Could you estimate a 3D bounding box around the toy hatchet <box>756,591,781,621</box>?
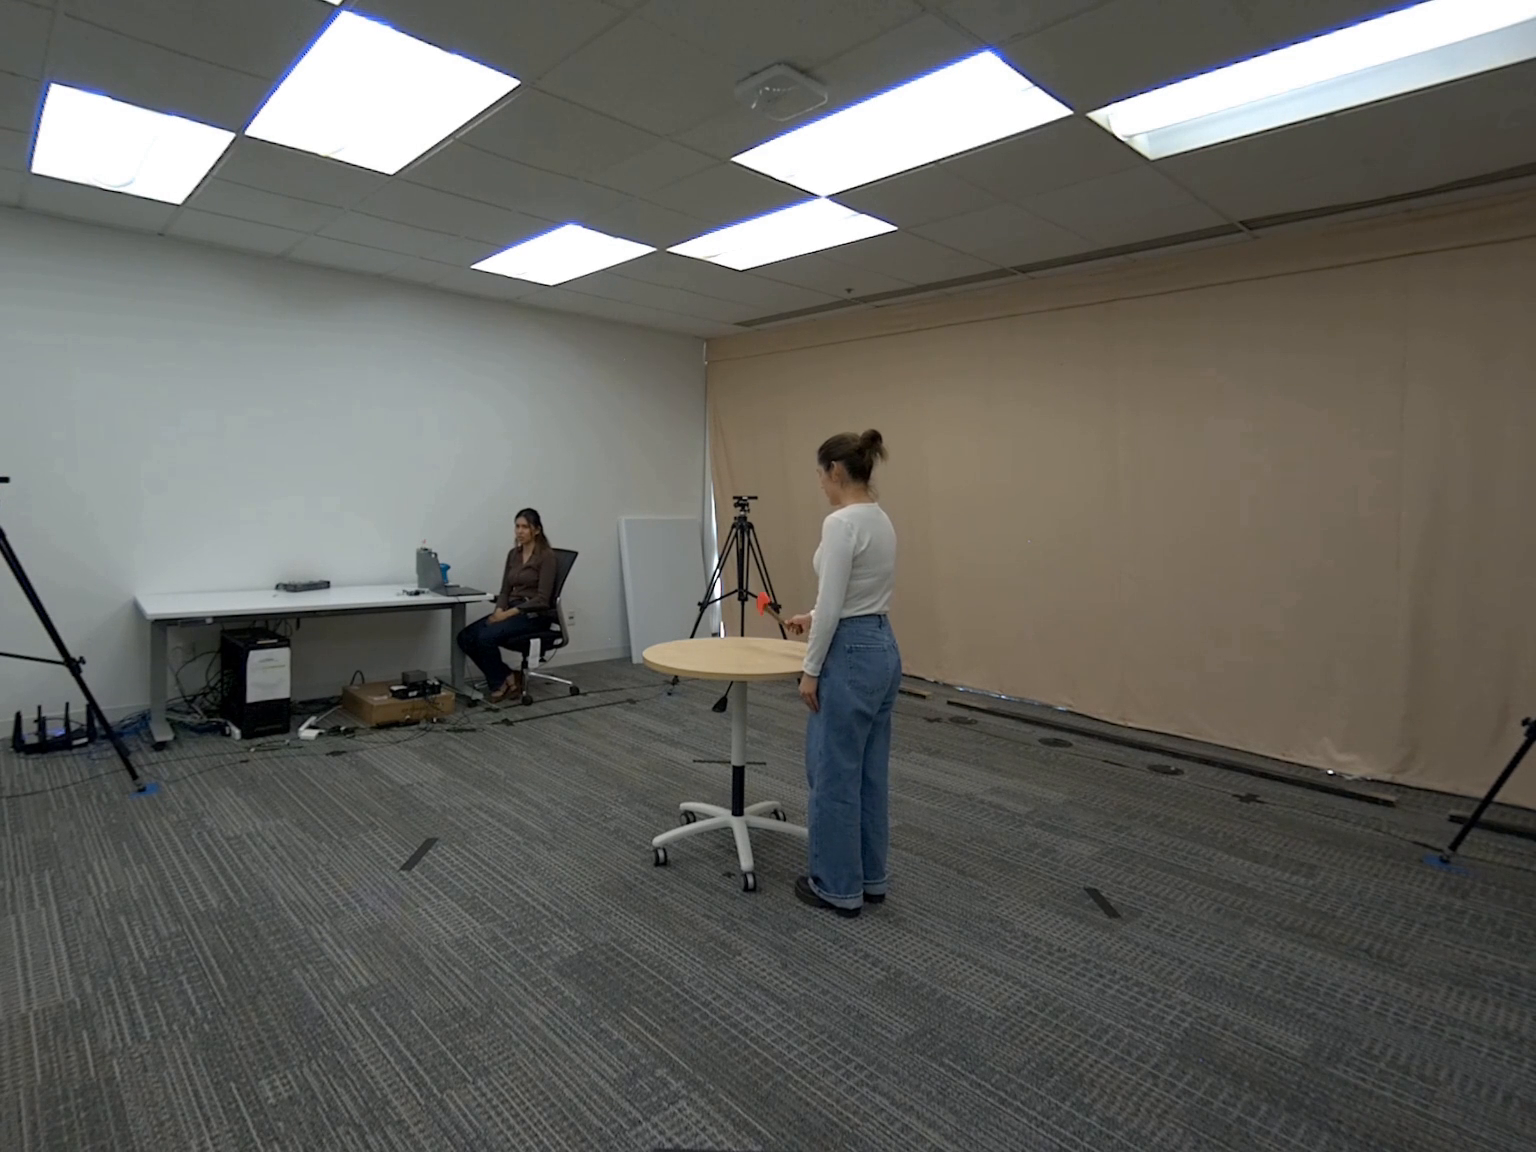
[{"bbox_3d":[0.028,0.131,3.316,0.029,0.129,0.278,-17,22,-24],"label":"toy hatchet"}]
